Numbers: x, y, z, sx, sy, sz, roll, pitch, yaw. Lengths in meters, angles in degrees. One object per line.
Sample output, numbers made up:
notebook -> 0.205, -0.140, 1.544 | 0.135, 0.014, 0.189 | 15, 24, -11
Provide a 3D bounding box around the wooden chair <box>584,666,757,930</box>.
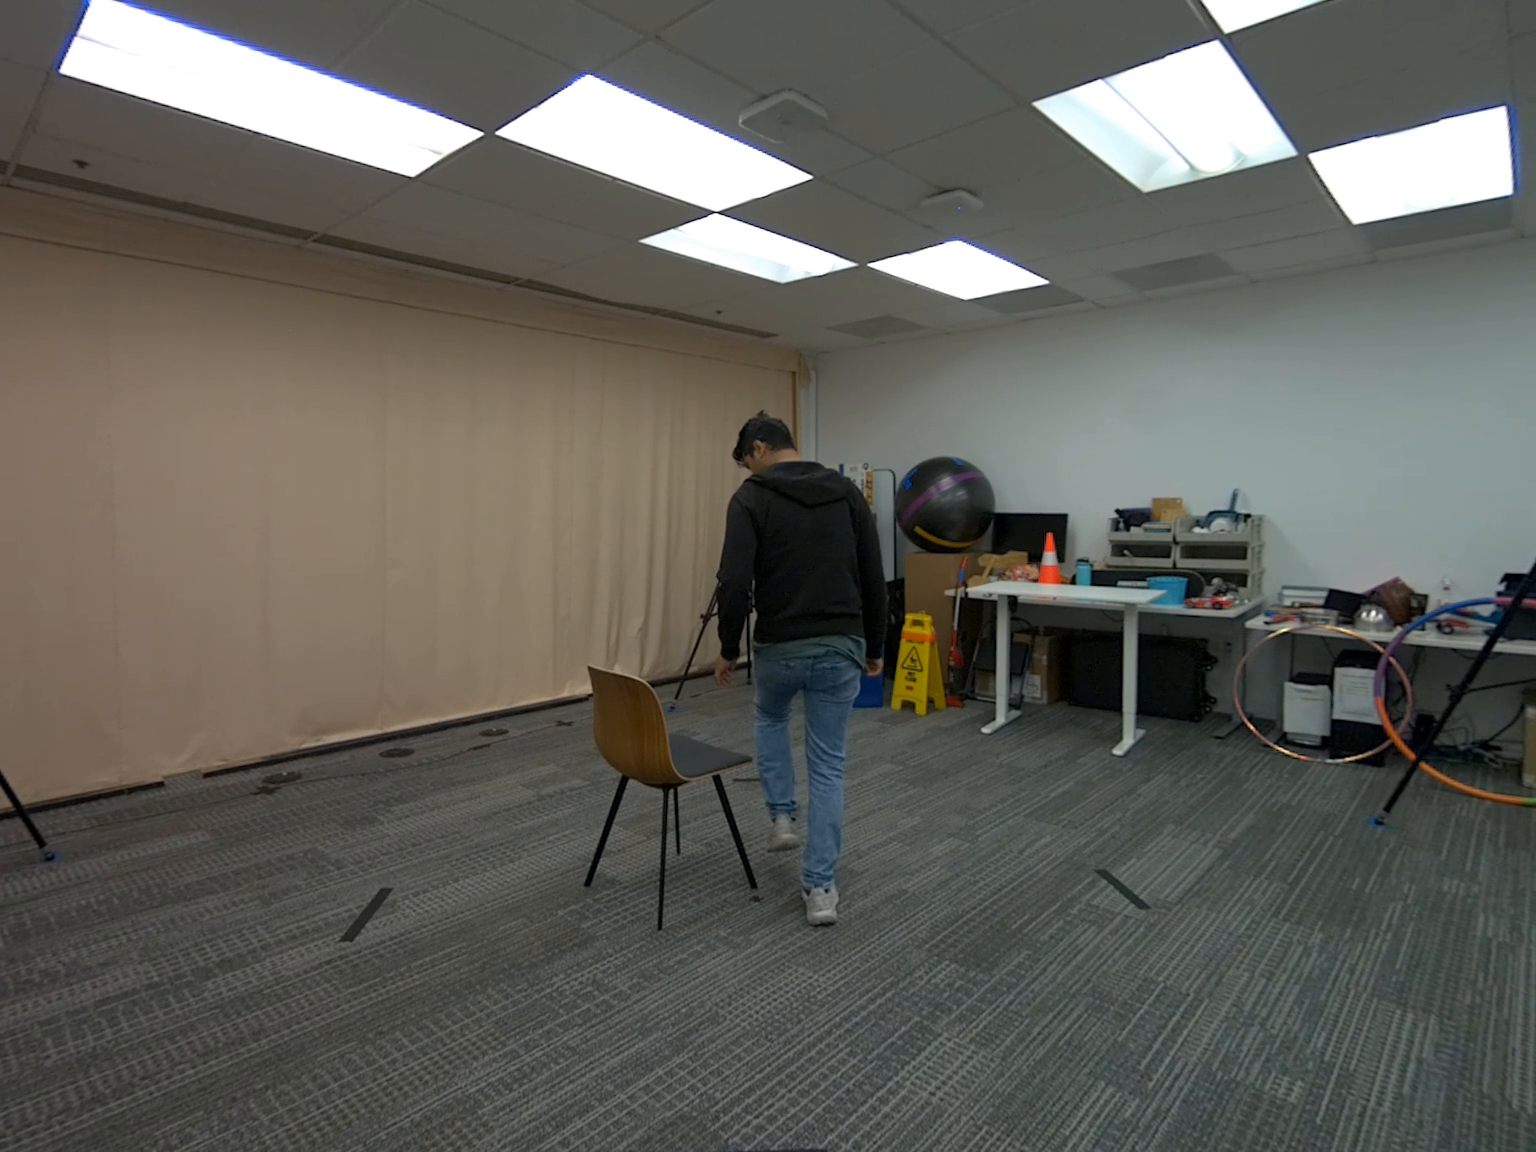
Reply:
wooden chair -> -0.351, 0.718, 3.054 | 0.508, 0.874, 0.494 | -8, 7, -43
